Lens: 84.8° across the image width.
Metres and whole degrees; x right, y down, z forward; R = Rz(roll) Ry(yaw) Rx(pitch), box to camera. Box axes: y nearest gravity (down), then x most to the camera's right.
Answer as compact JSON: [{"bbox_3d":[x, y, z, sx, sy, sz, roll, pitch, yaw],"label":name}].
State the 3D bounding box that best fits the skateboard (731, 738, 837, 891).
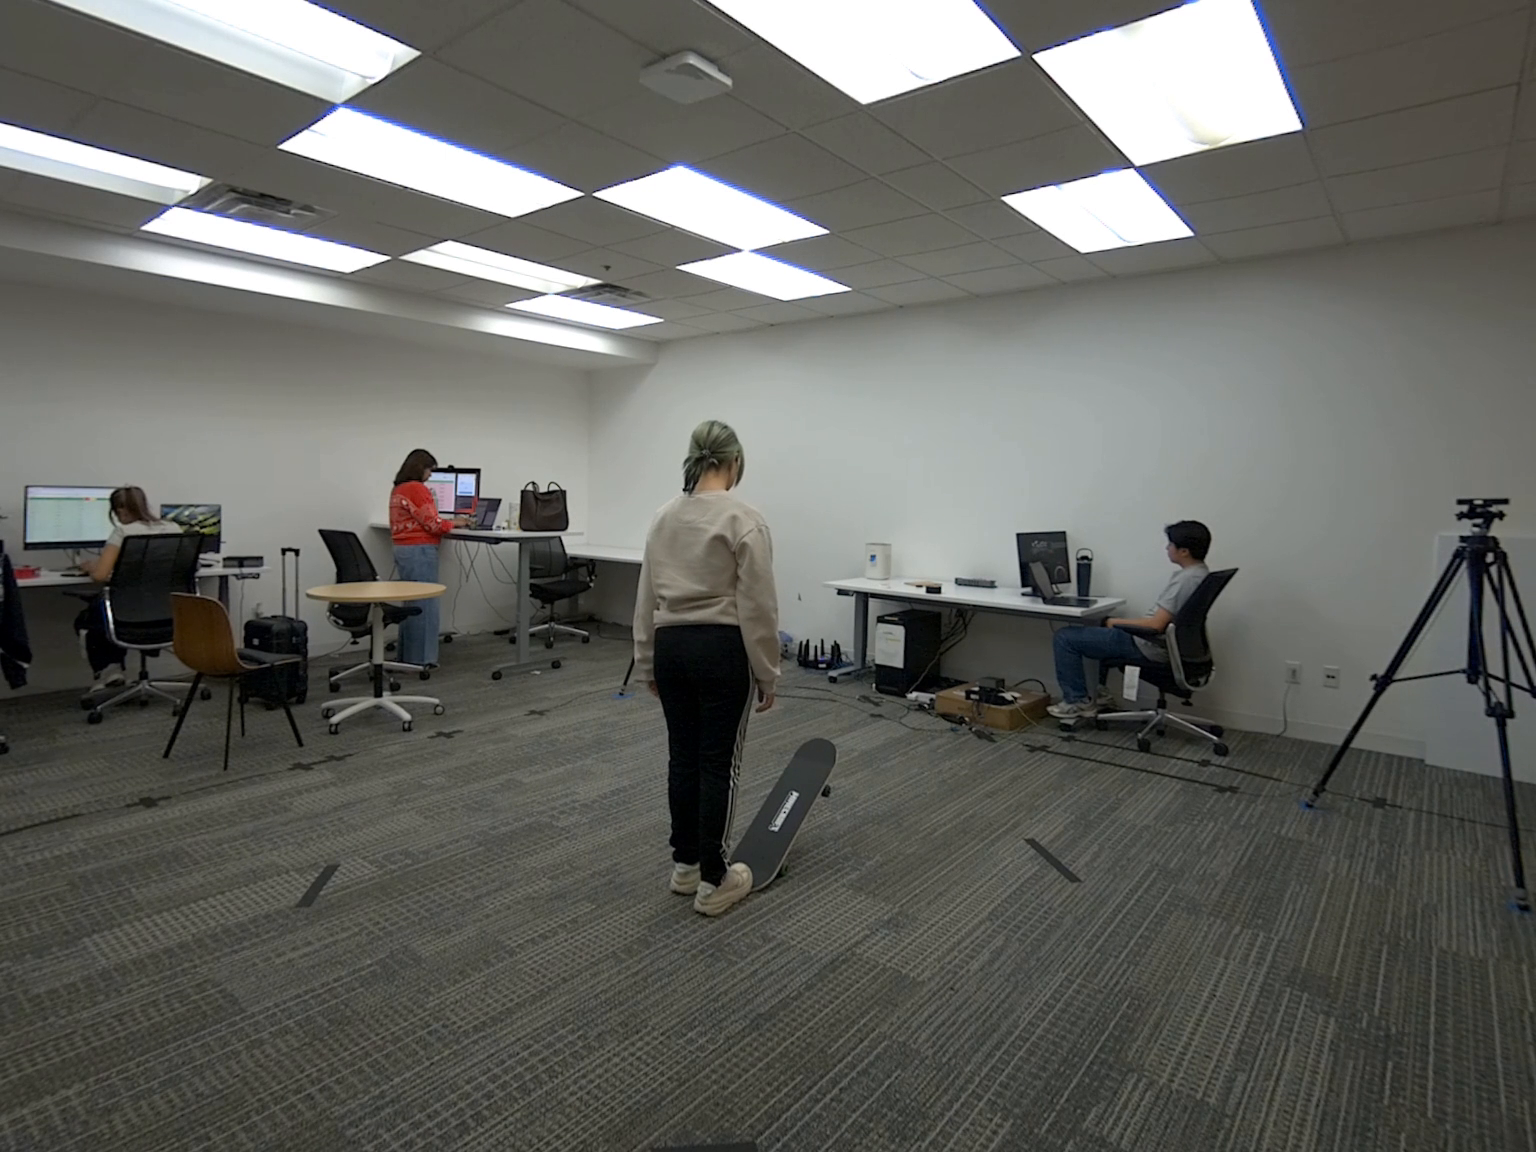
[{"bbox_3d":[0.067,0.923,3.251,0.199,0.107,0.786,2,34,28],"label":"skateboard"}]
